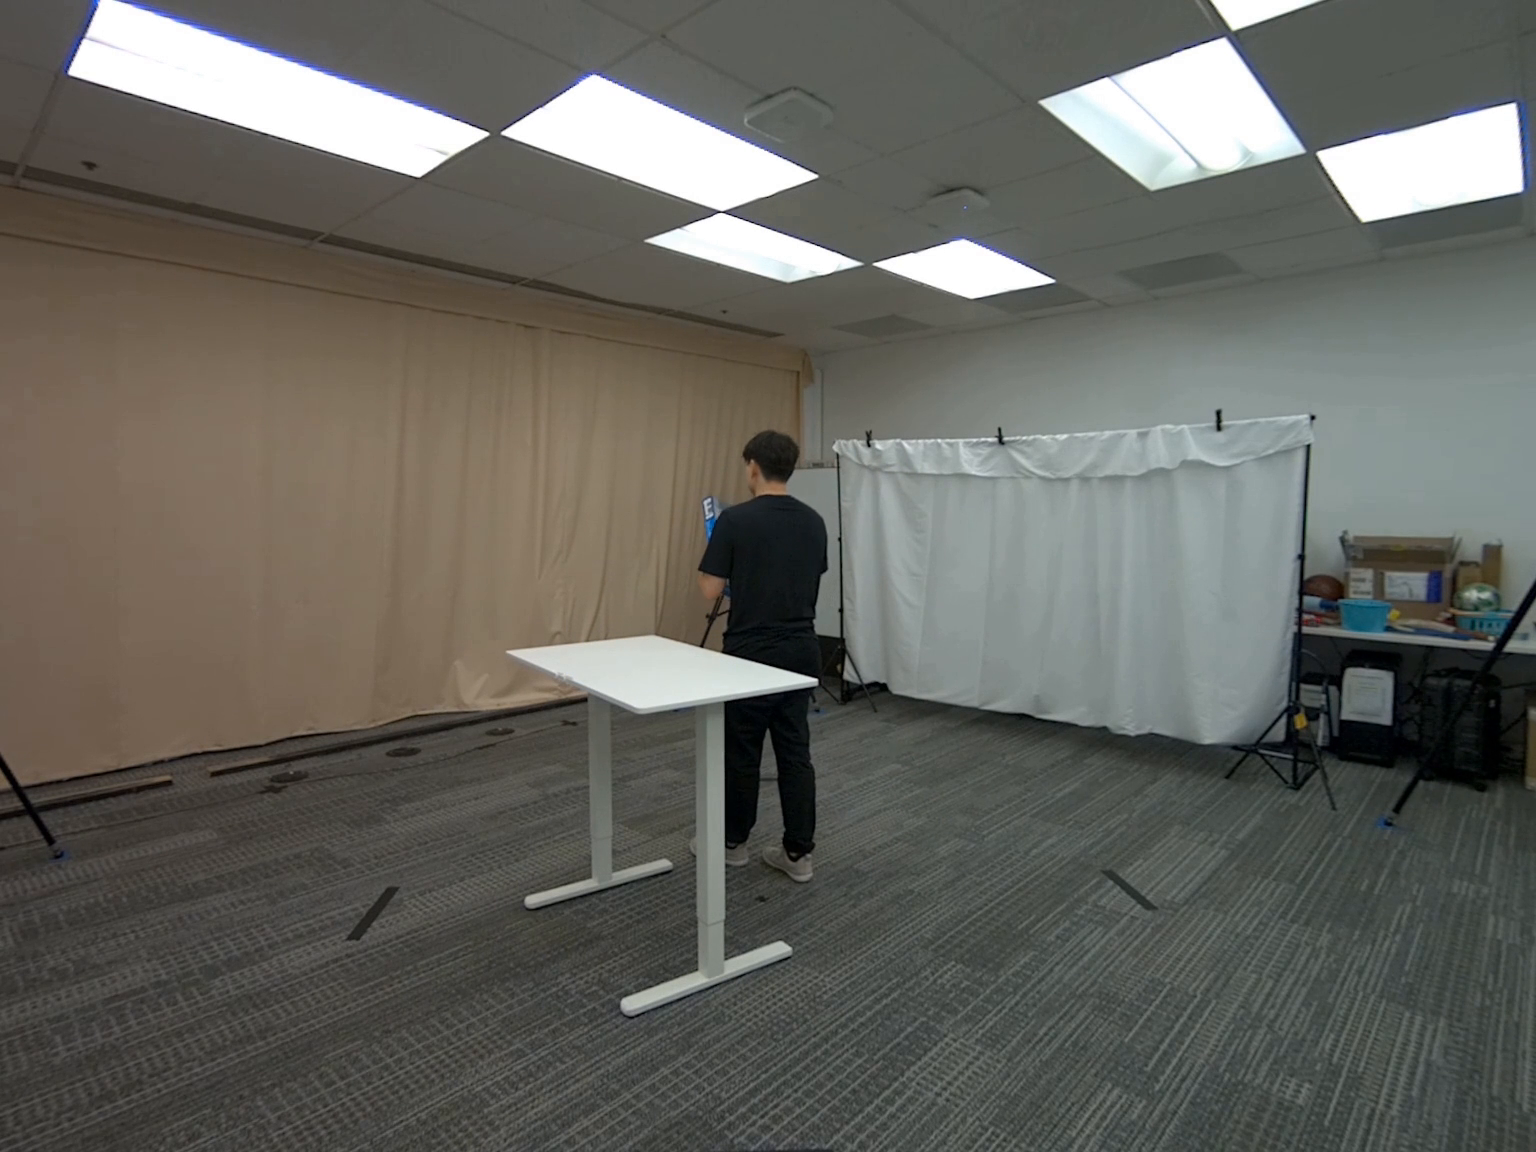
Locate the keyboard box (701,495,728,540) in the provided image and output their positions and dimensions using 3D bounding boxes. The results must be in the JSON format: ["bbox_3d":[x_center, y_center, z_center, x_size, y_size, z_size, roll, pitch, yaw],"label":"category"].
[{"bbox_3d":[-0.169,-0.115,3.501,0.060,0.446,0.169,-29,-33,29],"label":"keyboard box"}]
